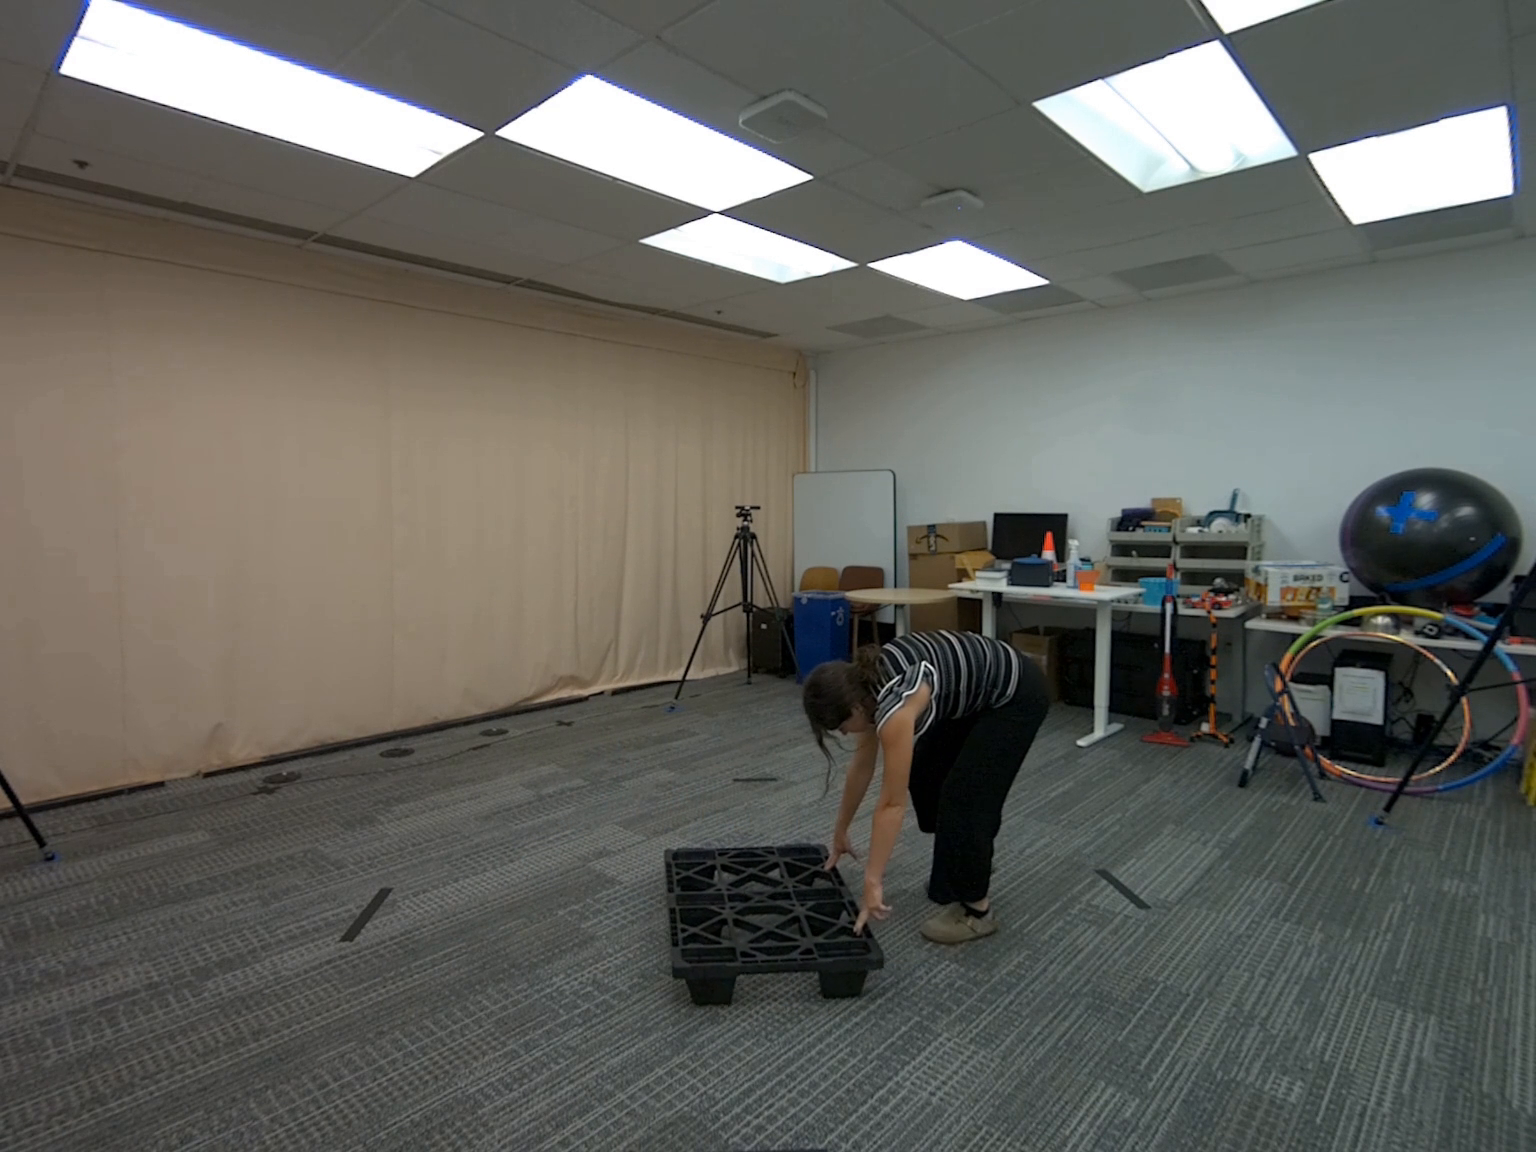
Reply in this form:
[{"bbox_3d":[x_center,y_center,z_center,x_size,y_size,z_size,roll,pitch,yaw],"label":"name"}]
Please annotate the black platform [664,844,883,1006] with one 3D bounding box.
[{"bbox_3d":[-0.025,1.100,2.718,0.601,0.143,0.813,-1,5,-7],"label":"black platform"}]
